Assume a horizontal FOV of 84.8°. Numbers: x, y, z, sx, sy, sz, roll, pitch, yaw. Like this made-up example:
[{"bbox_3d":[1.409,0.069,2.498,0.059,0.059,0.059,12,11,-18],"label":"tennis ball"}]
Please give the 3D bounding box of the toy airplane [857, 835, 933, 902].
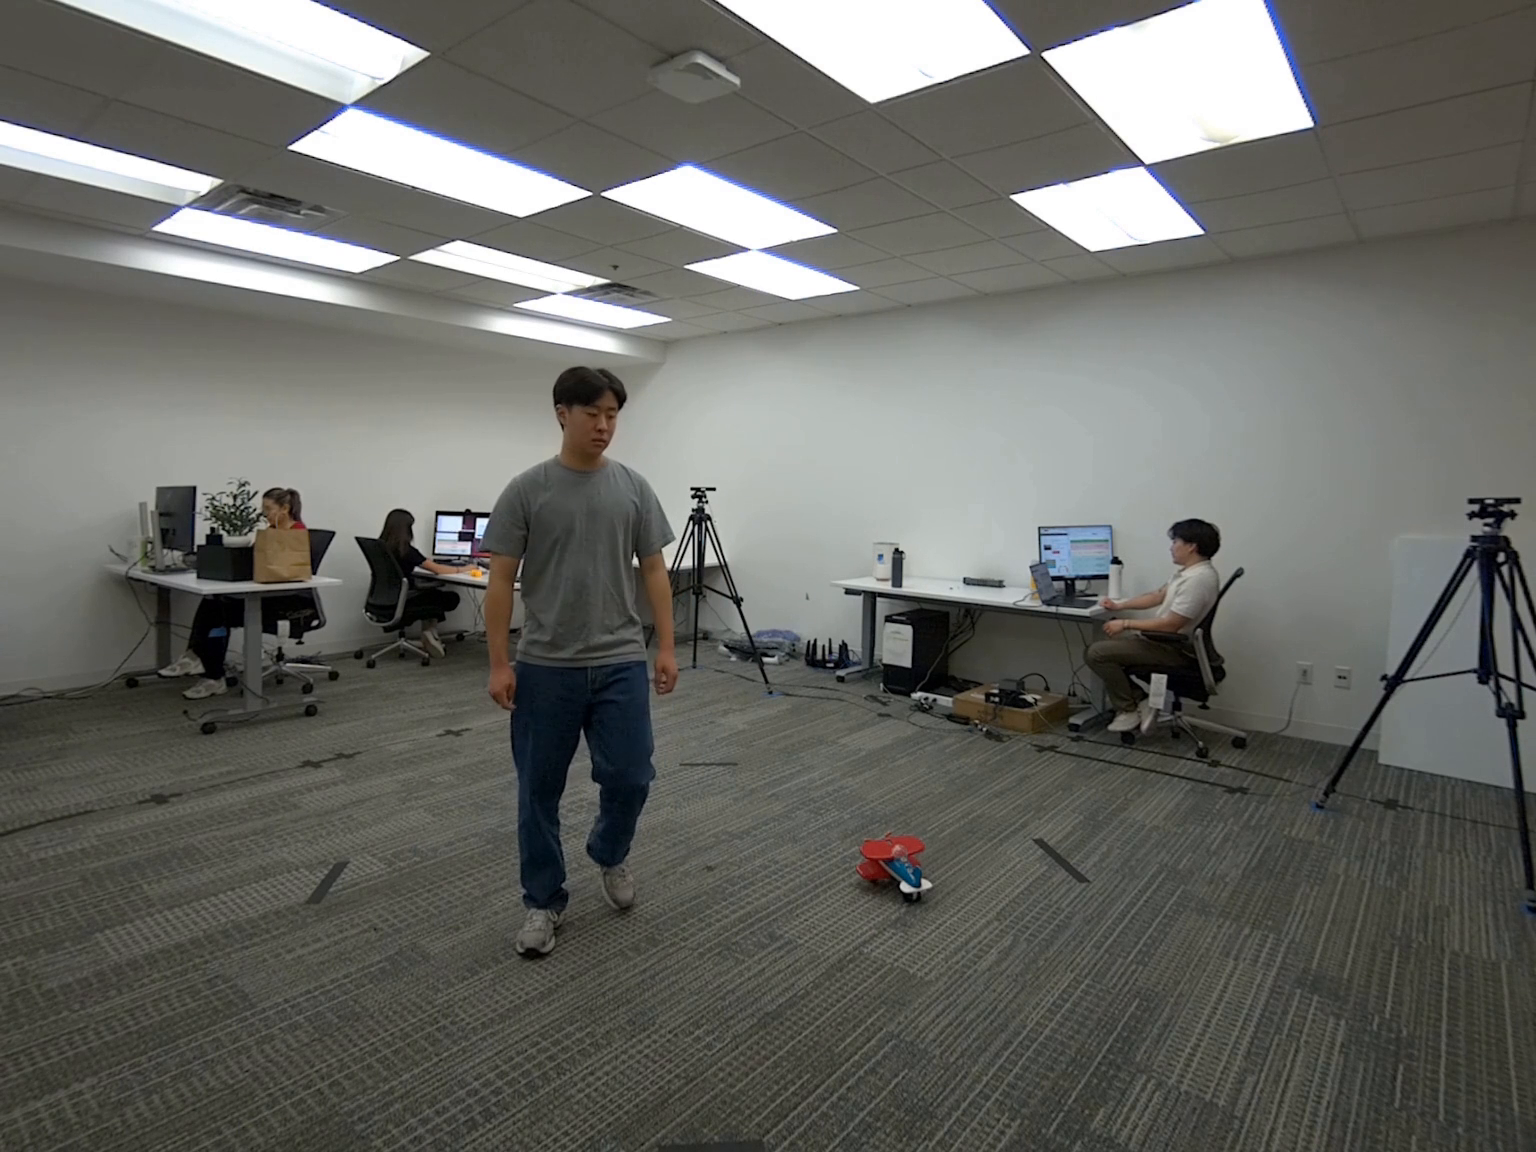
[{"bbox_3d":[0.464,1.023,2.986,0.267,0.156,0.244,4,6,36],"label":"toy airplane"}]
